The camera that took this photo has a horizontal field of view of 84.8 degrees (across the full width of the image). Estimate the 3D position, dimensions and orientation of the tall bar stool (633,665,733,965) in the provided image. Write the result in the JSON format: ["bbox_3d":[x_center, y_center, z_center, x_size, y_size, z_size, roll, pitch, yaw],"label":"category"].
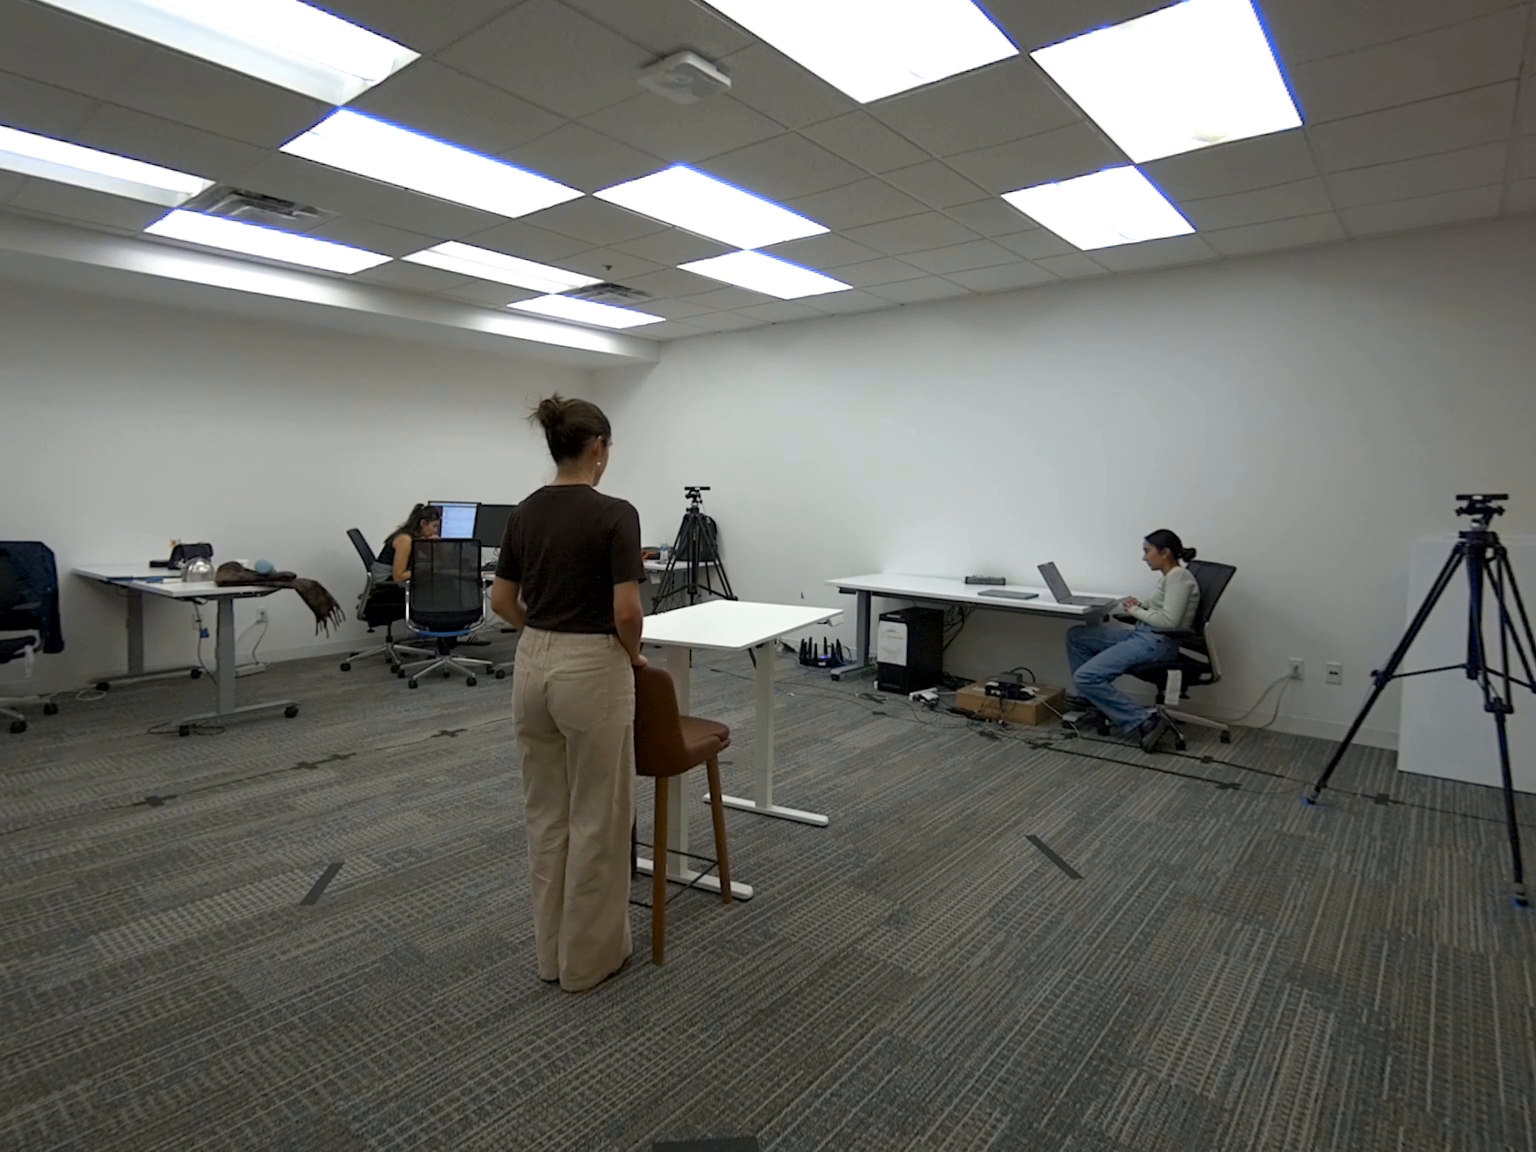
[{"bbox_3d":[-0.401,0.658,2.714,0.469,0.885,0.458,2,6,27],"label":"tall bar stool"}]
